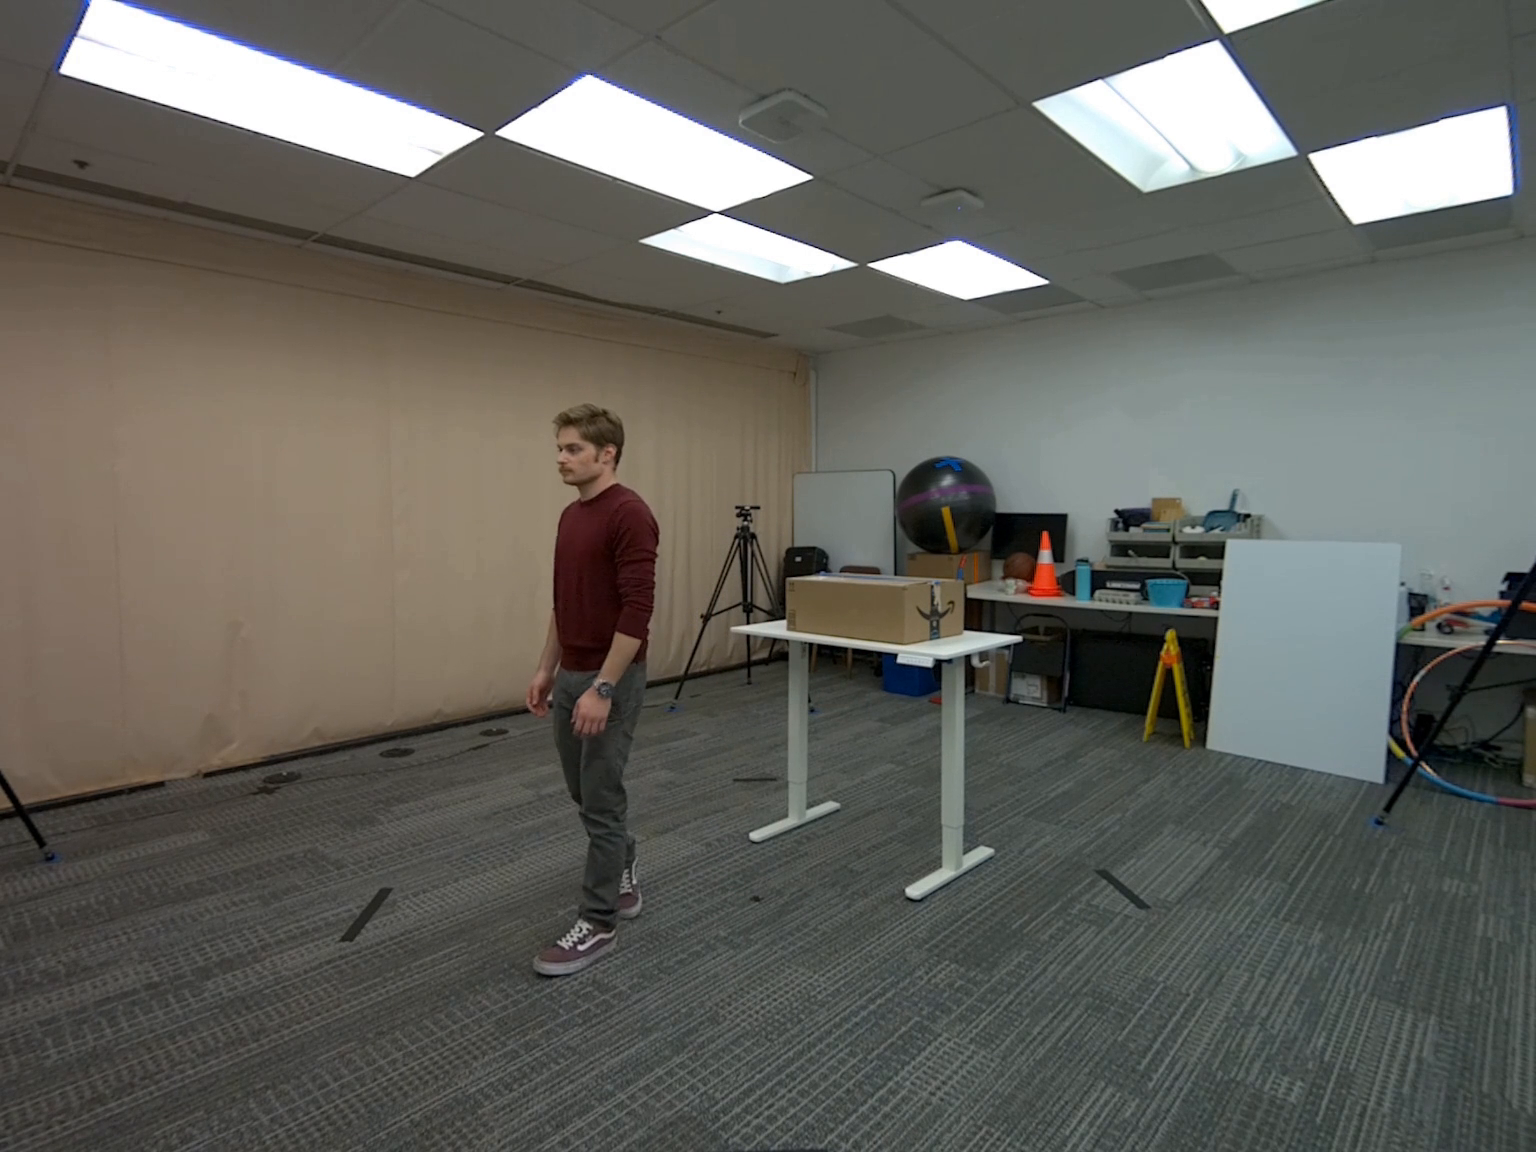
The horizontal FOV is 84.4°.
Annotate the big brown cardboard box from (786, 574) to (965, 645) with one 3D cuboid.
[{"bbox_3d":[0.422,0.119,3.385,0.609,0.232,0.405,4,6,43],"label":"big brown cardboard box"}]
